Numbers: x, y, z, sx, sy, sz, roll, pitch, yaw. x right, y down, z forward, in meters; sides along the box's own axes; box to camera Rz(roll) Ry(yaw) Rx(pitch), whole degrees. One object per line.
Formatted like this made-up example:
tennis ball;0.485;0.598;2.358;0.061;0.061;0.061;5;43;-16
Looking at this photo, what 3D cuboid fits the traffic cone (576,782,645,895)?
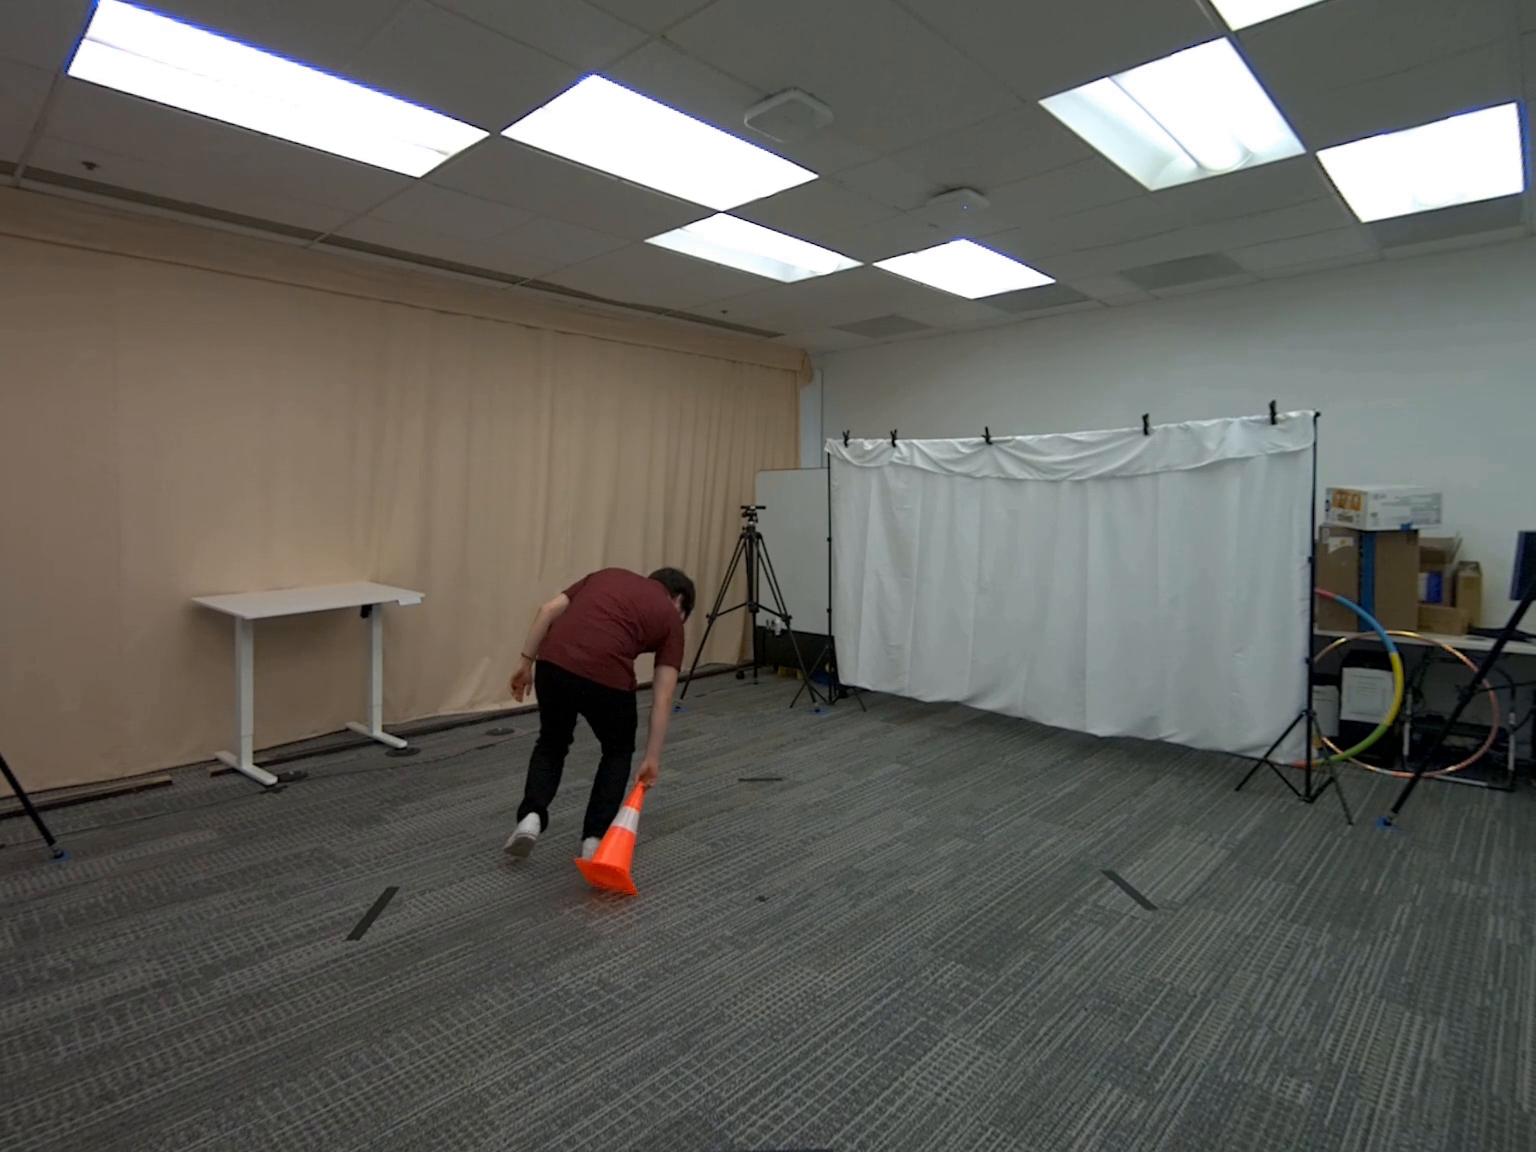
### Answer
traffic cone;-0.538;0.942;3.119;0.209;0.198;0.387;-1;42;17
